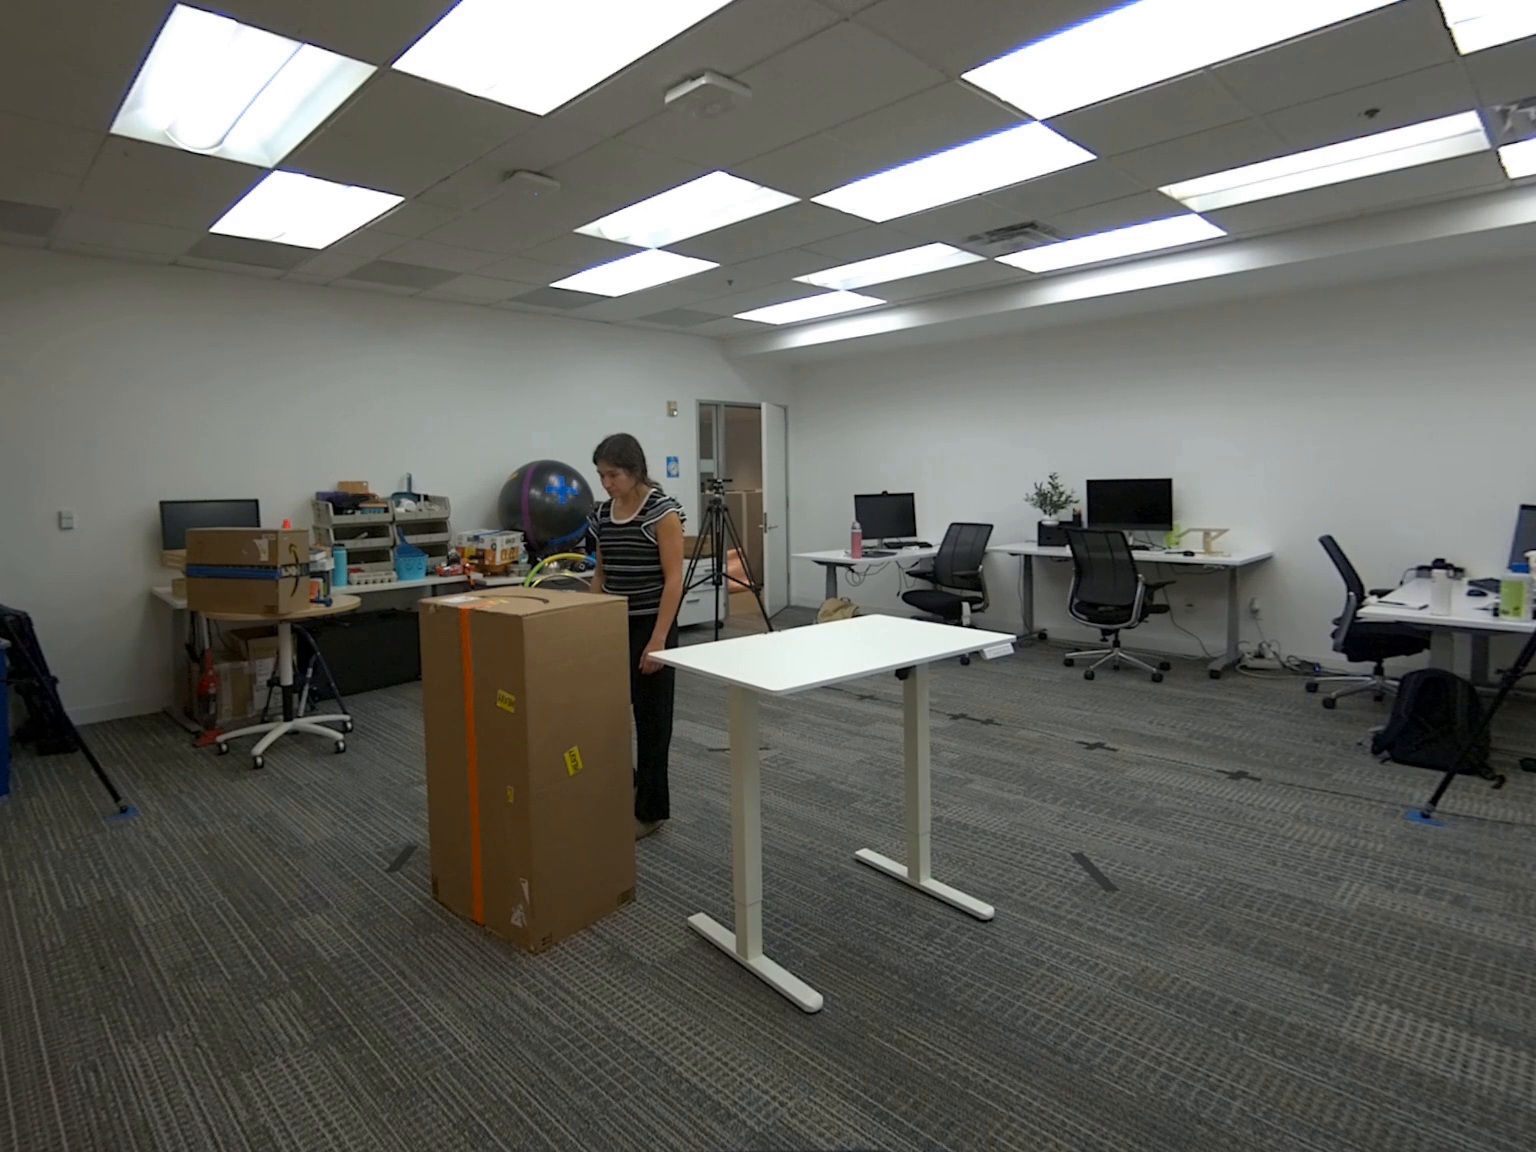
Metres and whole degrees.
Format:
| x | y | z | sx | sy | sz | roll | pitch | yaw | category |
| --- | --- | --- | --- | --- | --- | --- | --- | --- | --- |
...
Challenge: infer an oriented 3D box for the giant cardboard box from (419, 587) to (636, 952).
| x | y | z | sx | sy | sz | roll | pitch | yaw | category |
| --- | --- | --- | --- | --- | --- | --- | --- | --- | --- |
| -0.804 | 0.582 | 2.843 | 0.594 | 1.022 | 0.415 | 2 | 5 | 38 | giant cardboard box |
